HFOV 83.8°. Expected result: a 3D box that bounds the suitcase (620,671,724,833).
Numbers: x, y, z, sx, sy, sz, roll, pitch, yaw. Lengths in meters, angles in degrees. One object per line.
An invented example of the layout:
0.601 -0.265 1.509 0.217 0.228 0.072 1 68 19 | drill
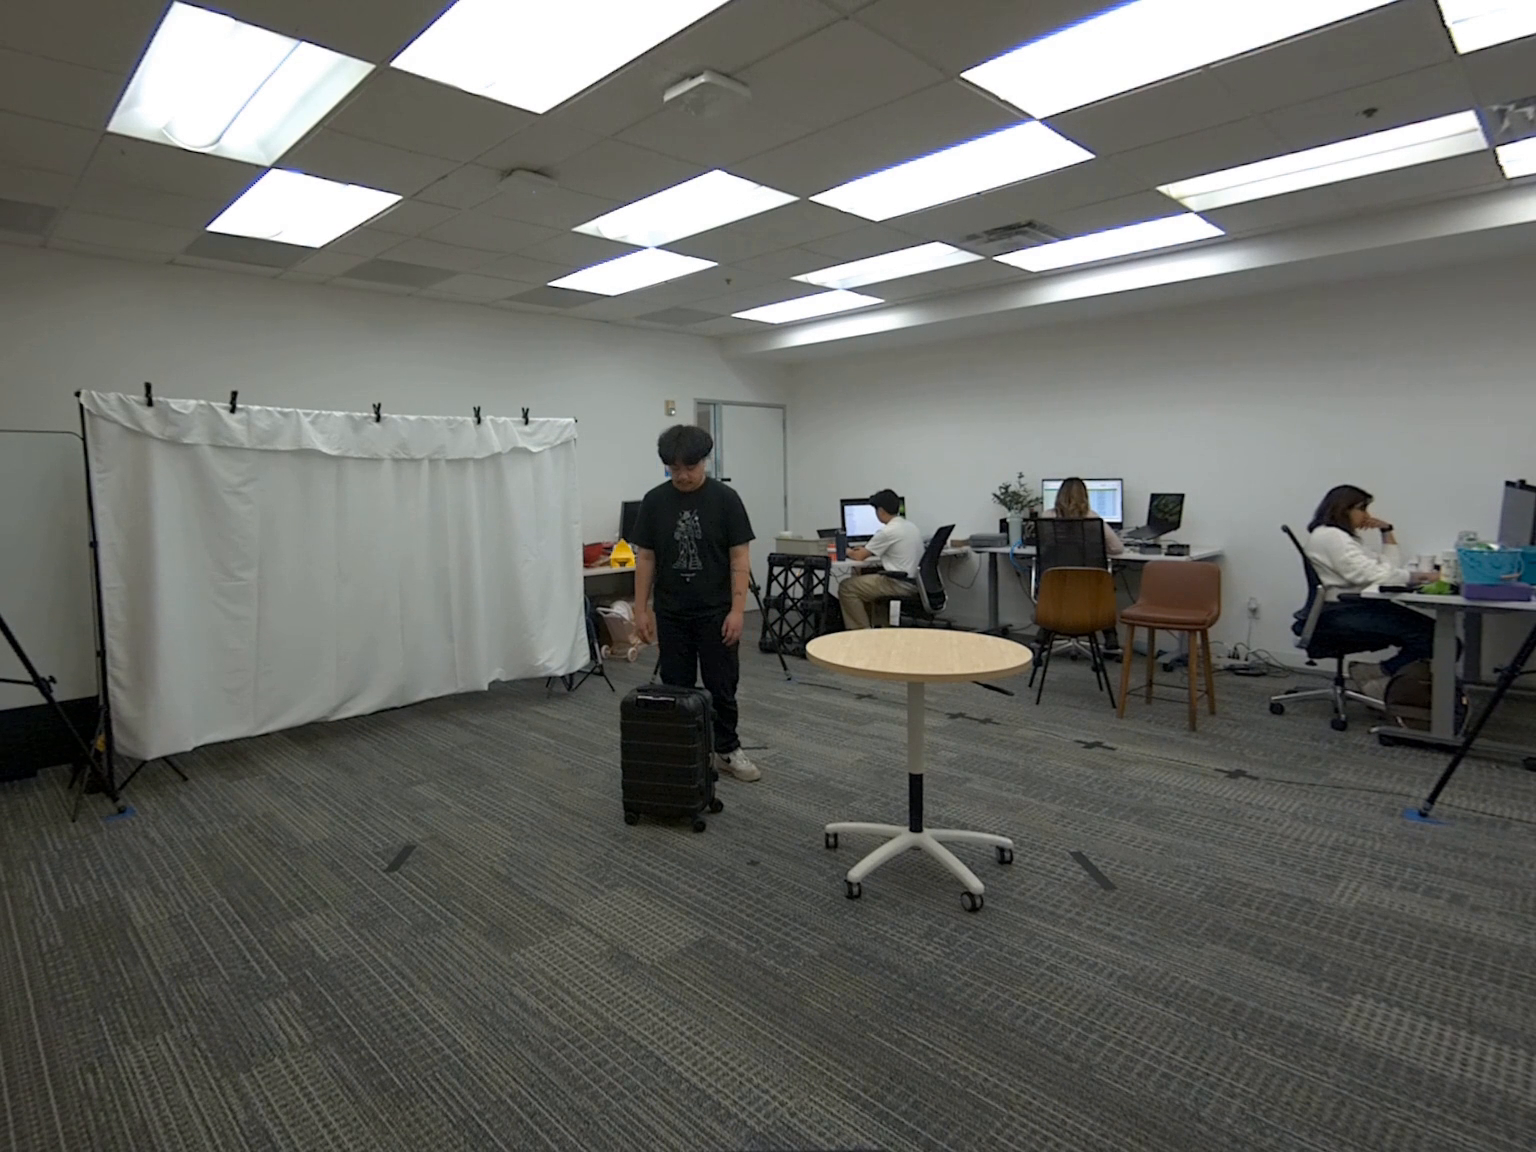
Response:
-0.417 0.732 3.530 0.382 0.548 0.245 -1 4 18 | suitcase
